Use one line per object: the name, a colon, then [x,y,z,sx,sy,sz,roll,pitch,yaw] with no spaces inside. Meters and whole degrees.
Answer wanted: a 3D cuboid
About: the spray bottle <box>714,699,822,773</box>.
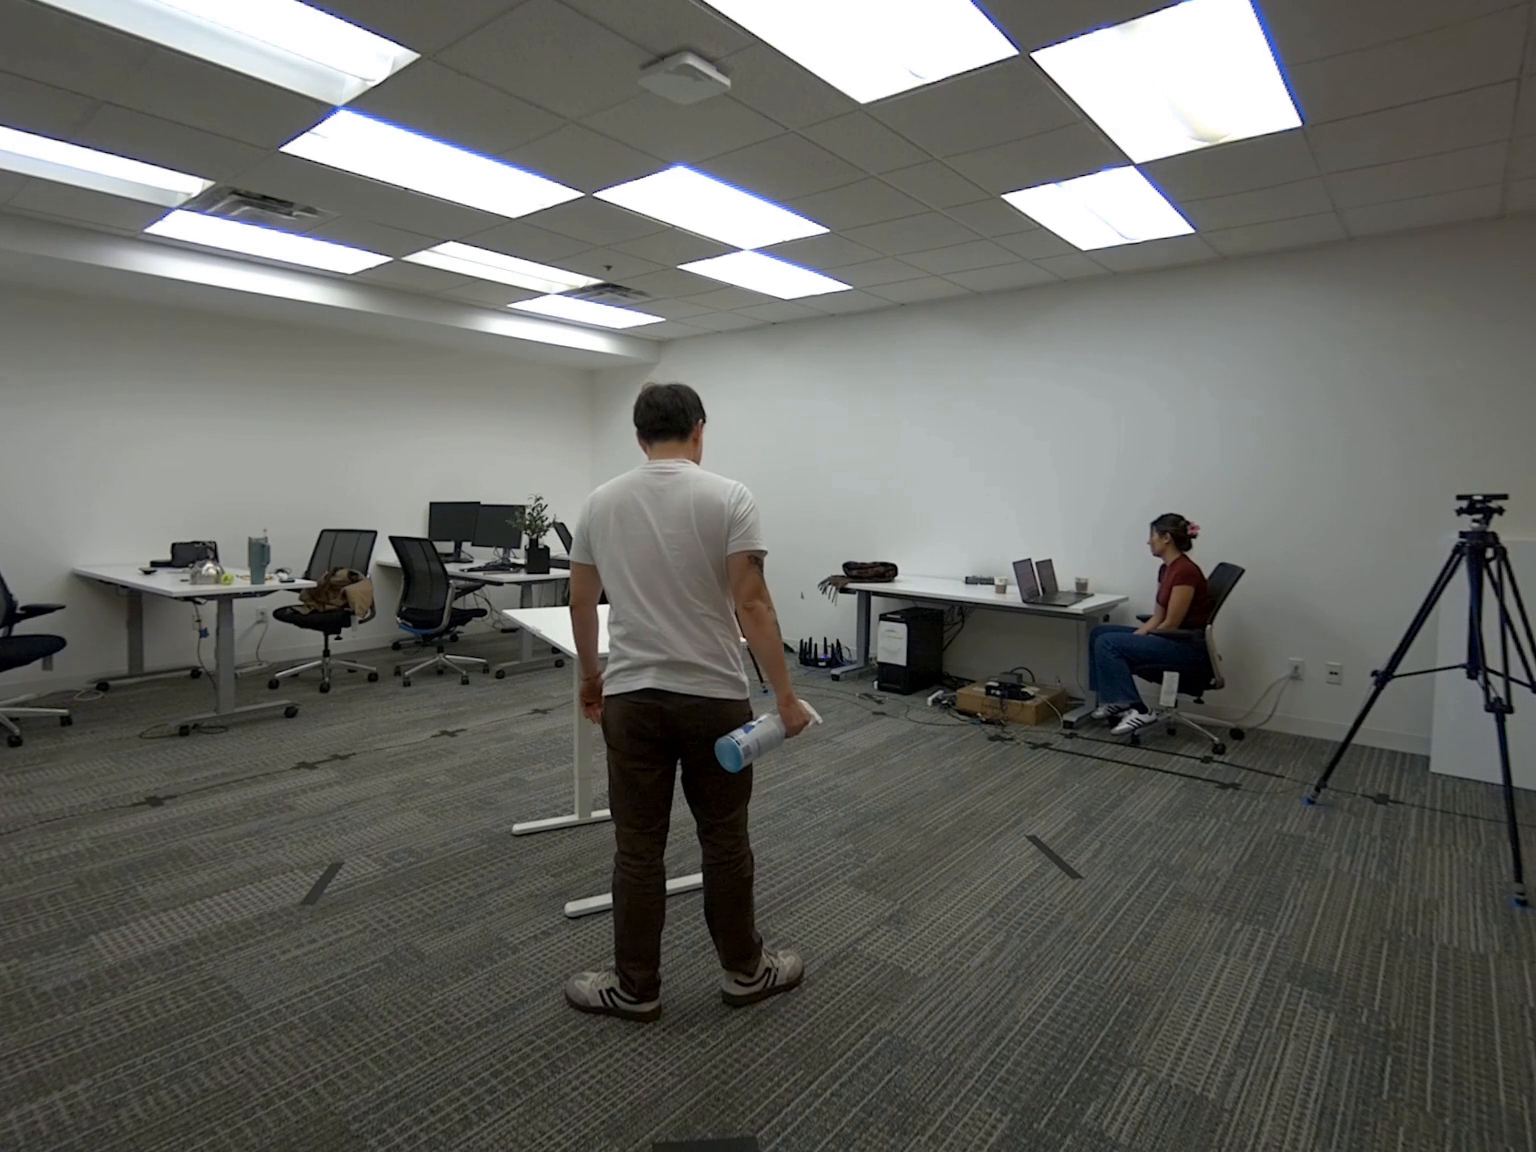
spray bottle: [0.003,0.383,2.120,0.292,0.085,0.094,-19,34,-32]
